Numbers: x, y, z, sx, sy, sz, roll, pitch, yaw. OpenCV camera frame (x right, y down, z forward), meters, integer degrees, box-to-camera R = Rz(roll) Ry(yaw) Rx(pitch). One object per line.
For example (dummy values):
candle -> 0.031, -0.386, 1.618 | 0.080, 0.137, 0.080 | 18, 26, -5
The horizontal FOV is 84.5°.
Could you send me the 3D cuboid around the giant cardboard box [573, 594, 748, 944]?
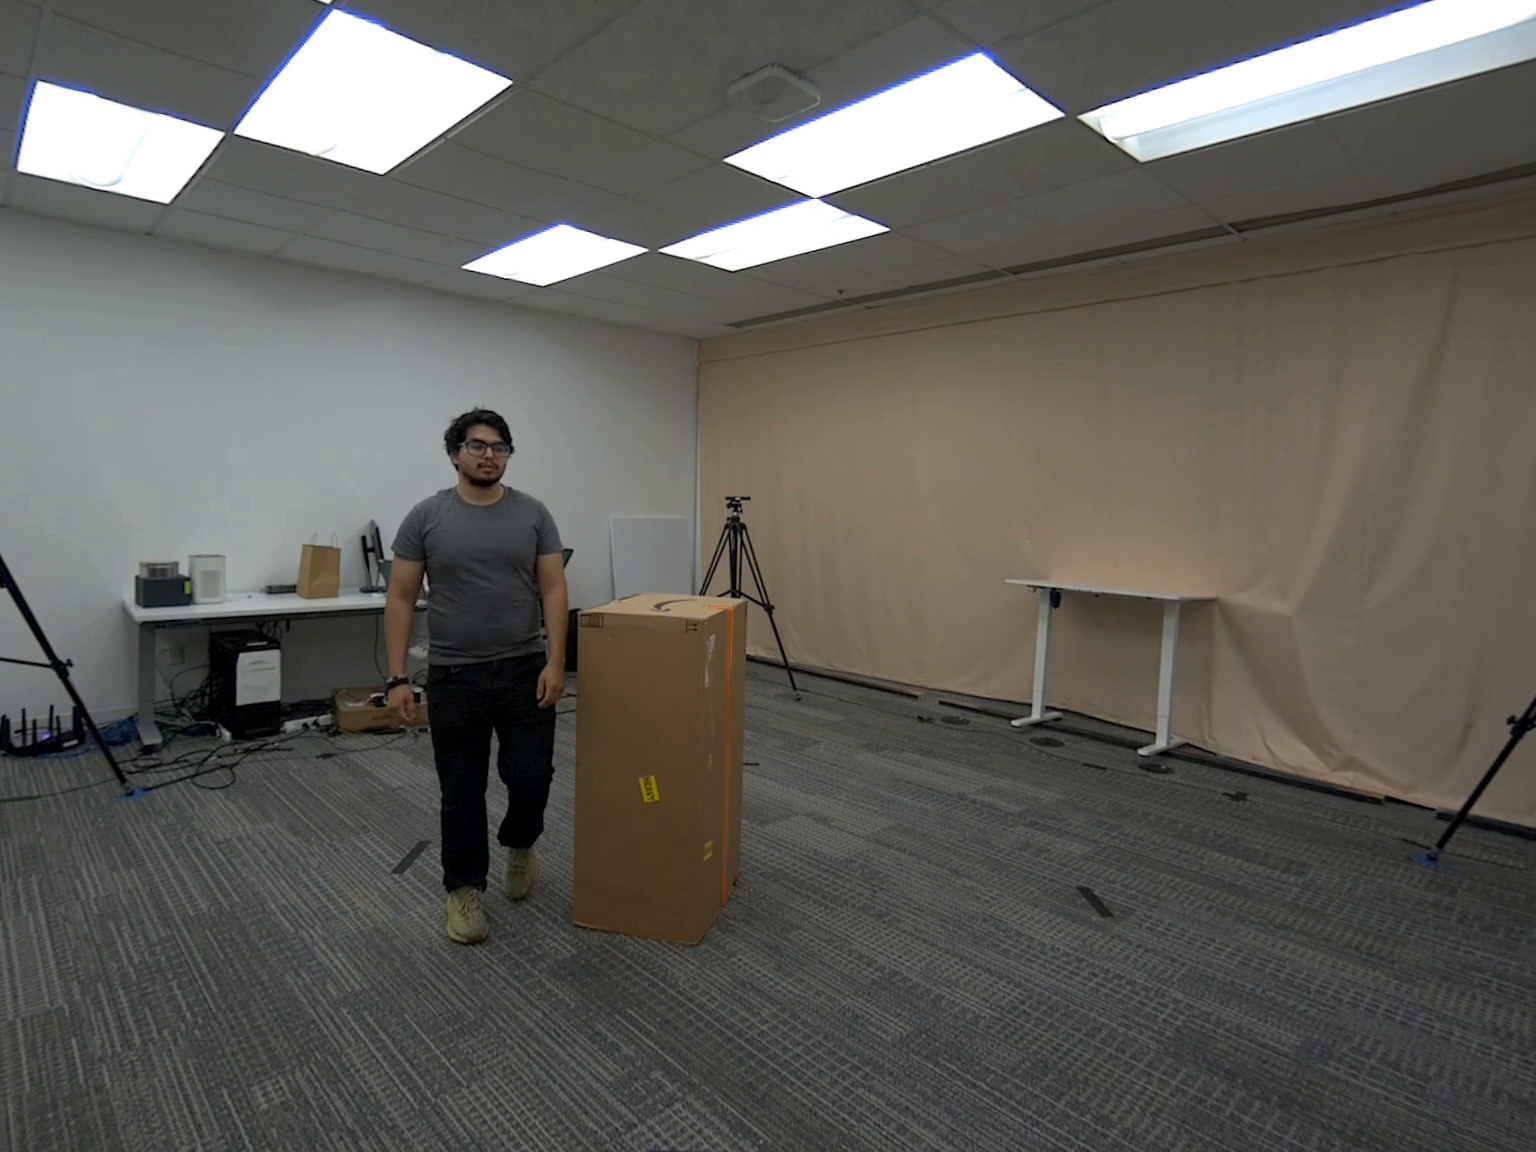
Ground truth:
giant cardboard box -> -0.352, 0.610, 2.913 | 0.431, 1.023, 0.572 | 2, 3, 14
